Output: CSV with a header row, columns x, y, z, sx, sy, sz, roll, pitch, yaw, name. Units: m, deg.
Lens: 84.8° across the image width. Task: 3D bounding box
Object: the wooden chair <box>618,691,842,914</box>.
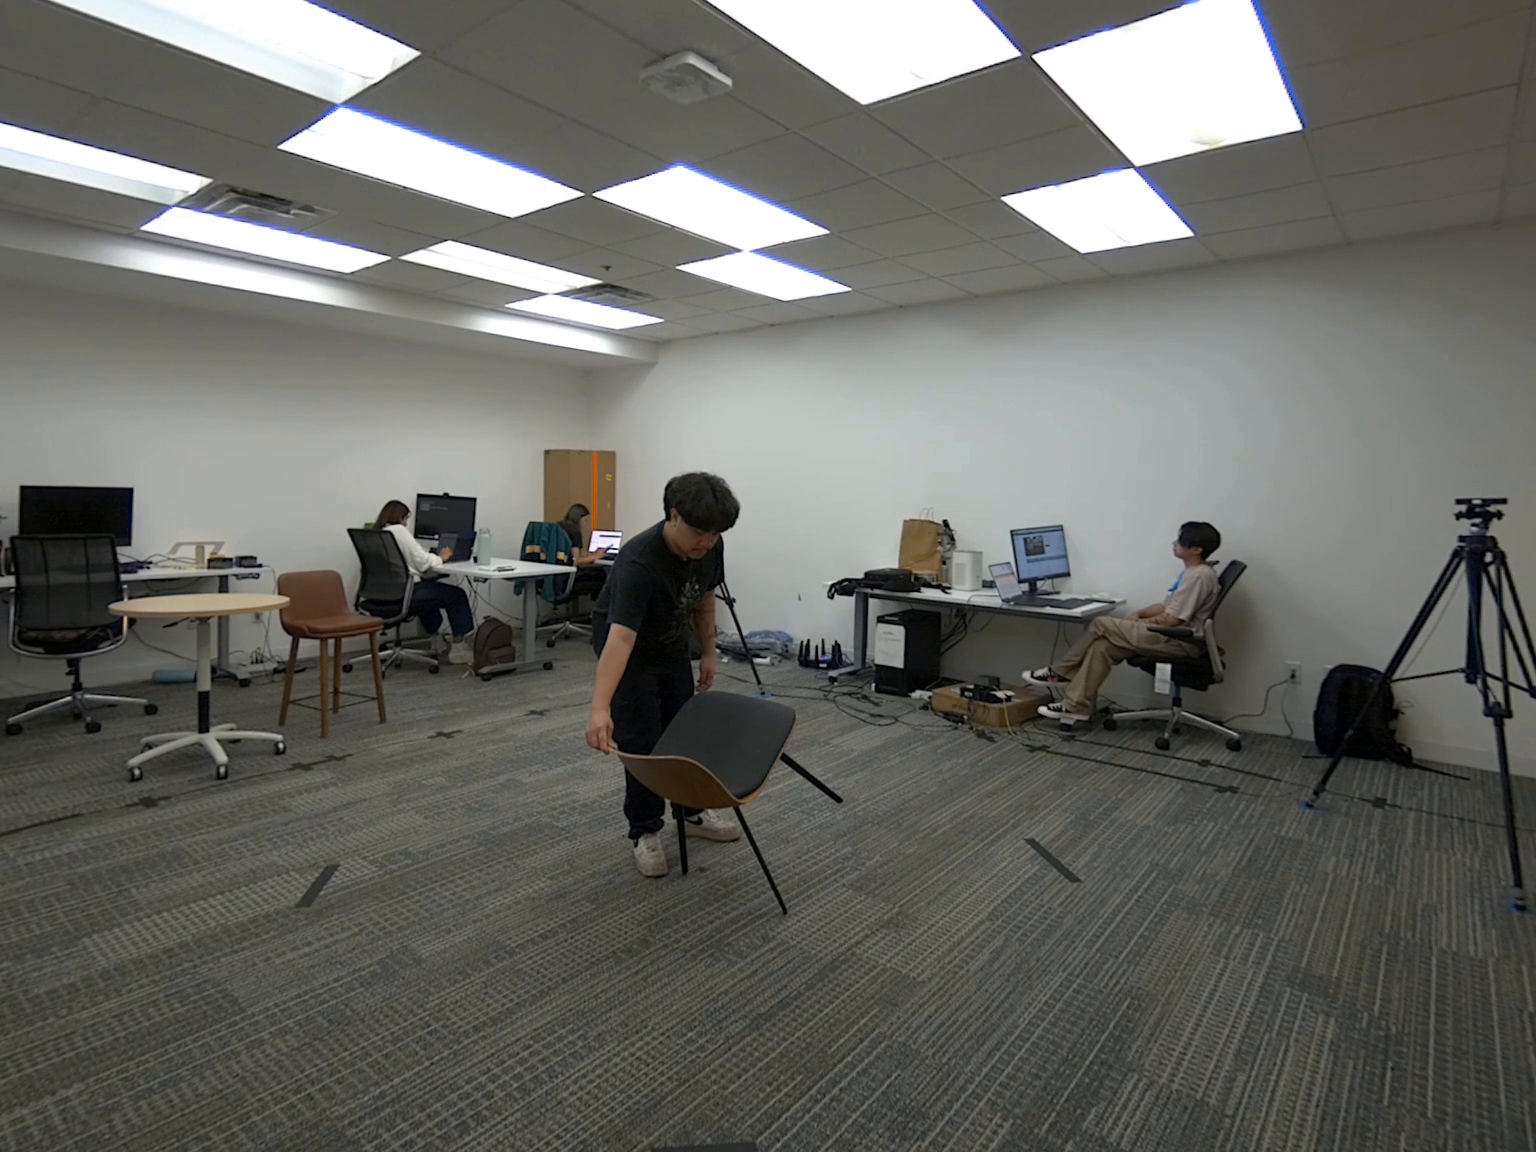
x,y,z,sx,sy,sz,roll,pitch,yaw,name
-0.165,0.619,2.838,0.494,0.844,0.526,4,47,37,wooden chair
